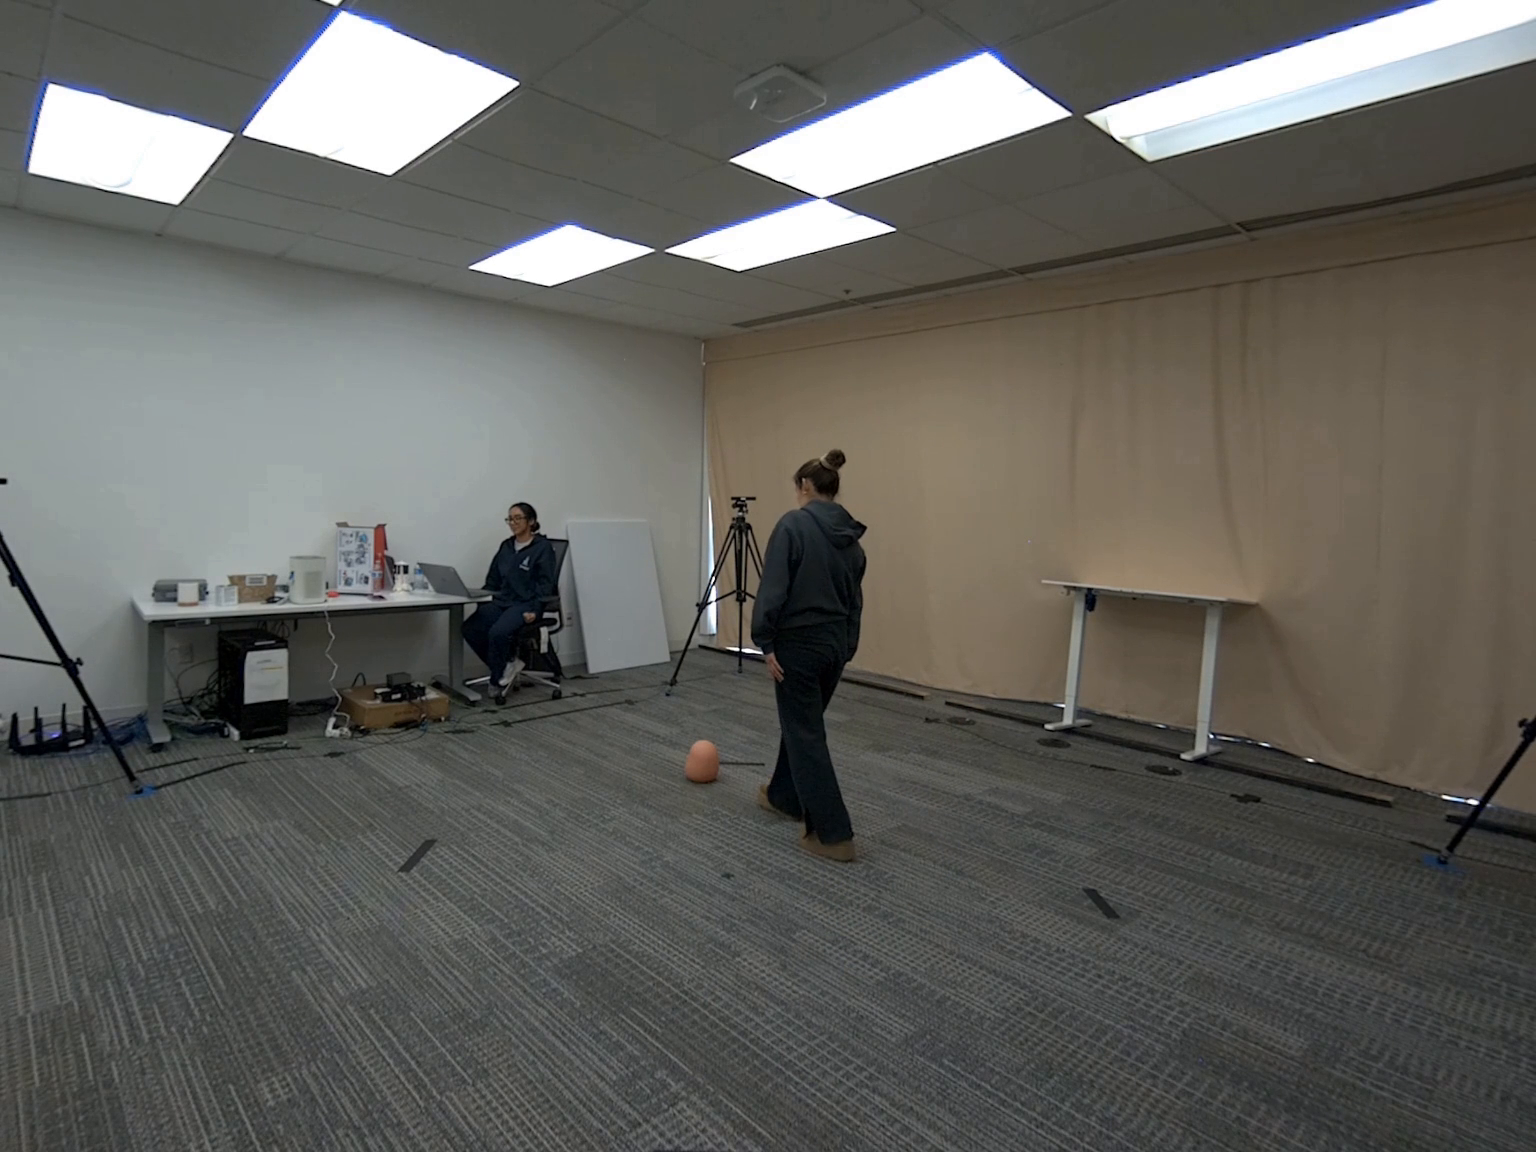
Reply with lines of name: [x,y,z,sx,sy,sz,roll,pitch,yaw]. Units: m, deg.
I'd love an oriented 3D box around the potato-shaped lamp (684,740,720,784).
potato-shaped lamp: [-0.345,0.905,4.177,0.161,0.197,0.176,1,7,-42]
